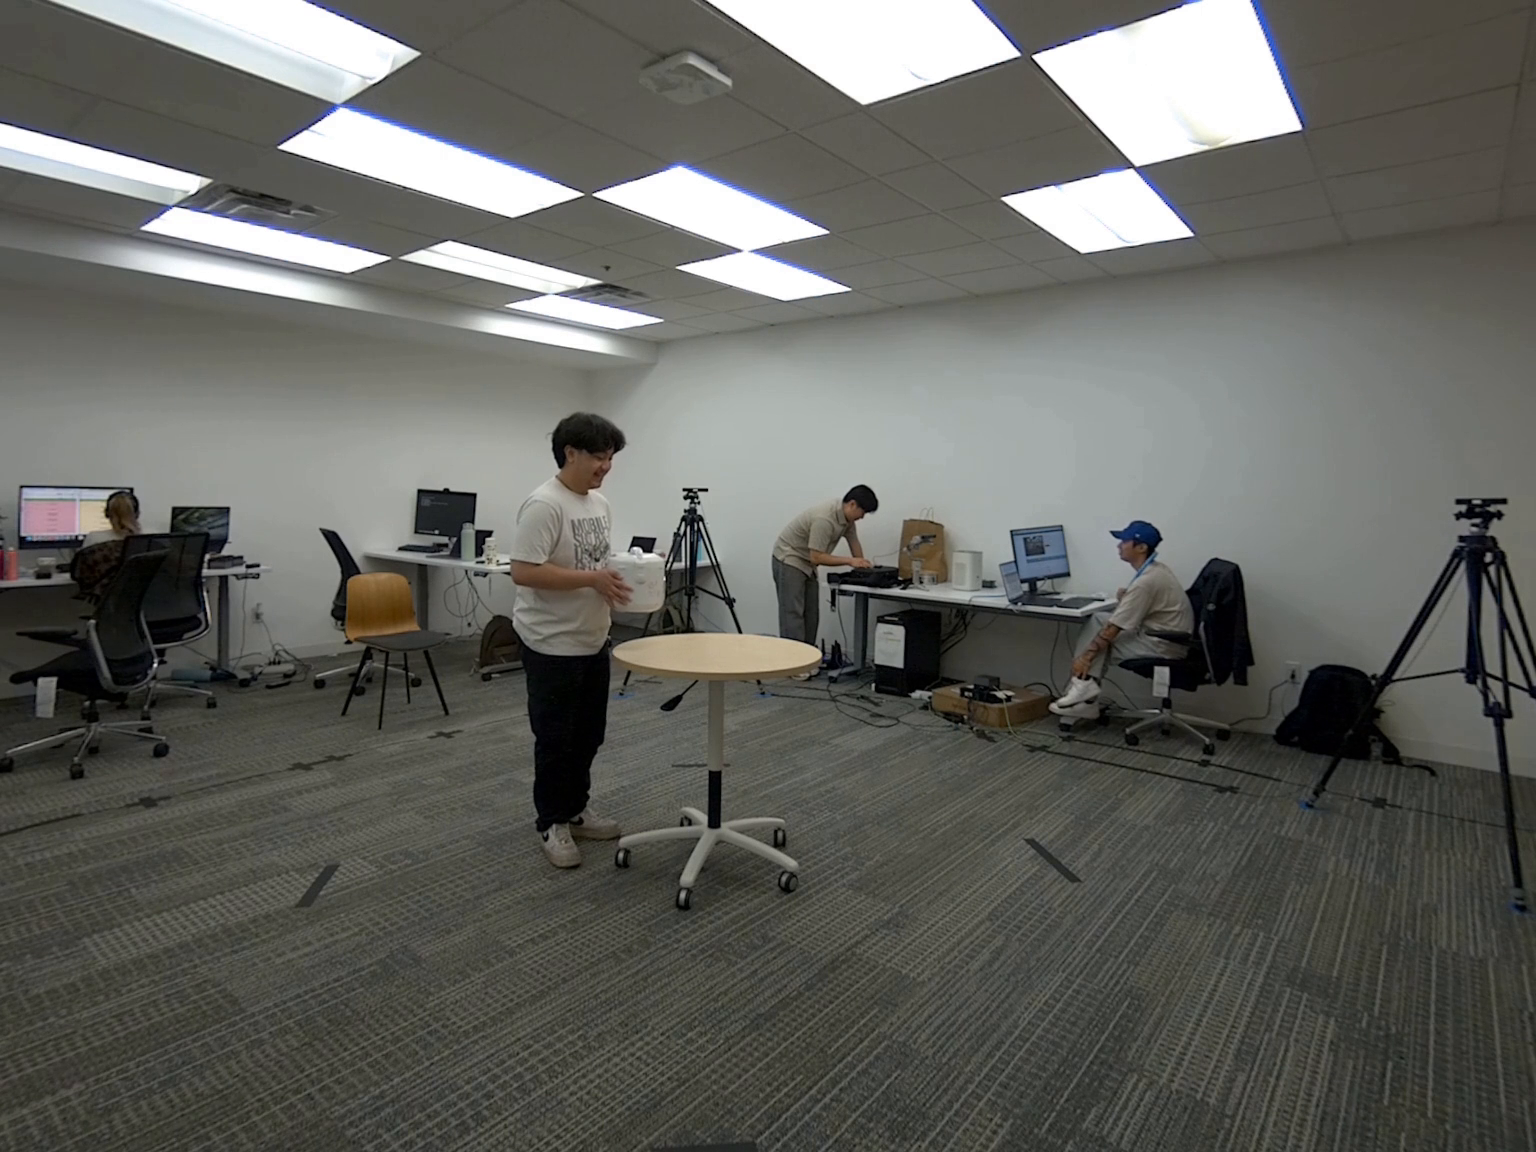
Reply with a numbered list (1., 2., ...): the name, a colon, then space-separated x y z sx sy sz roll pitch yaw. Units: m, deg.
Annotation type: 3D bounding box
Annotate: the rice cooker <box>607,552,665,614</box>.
1. rice cooker: -0.501 0.010 3.147 0.214 0.232 0.225 0 4 -17
